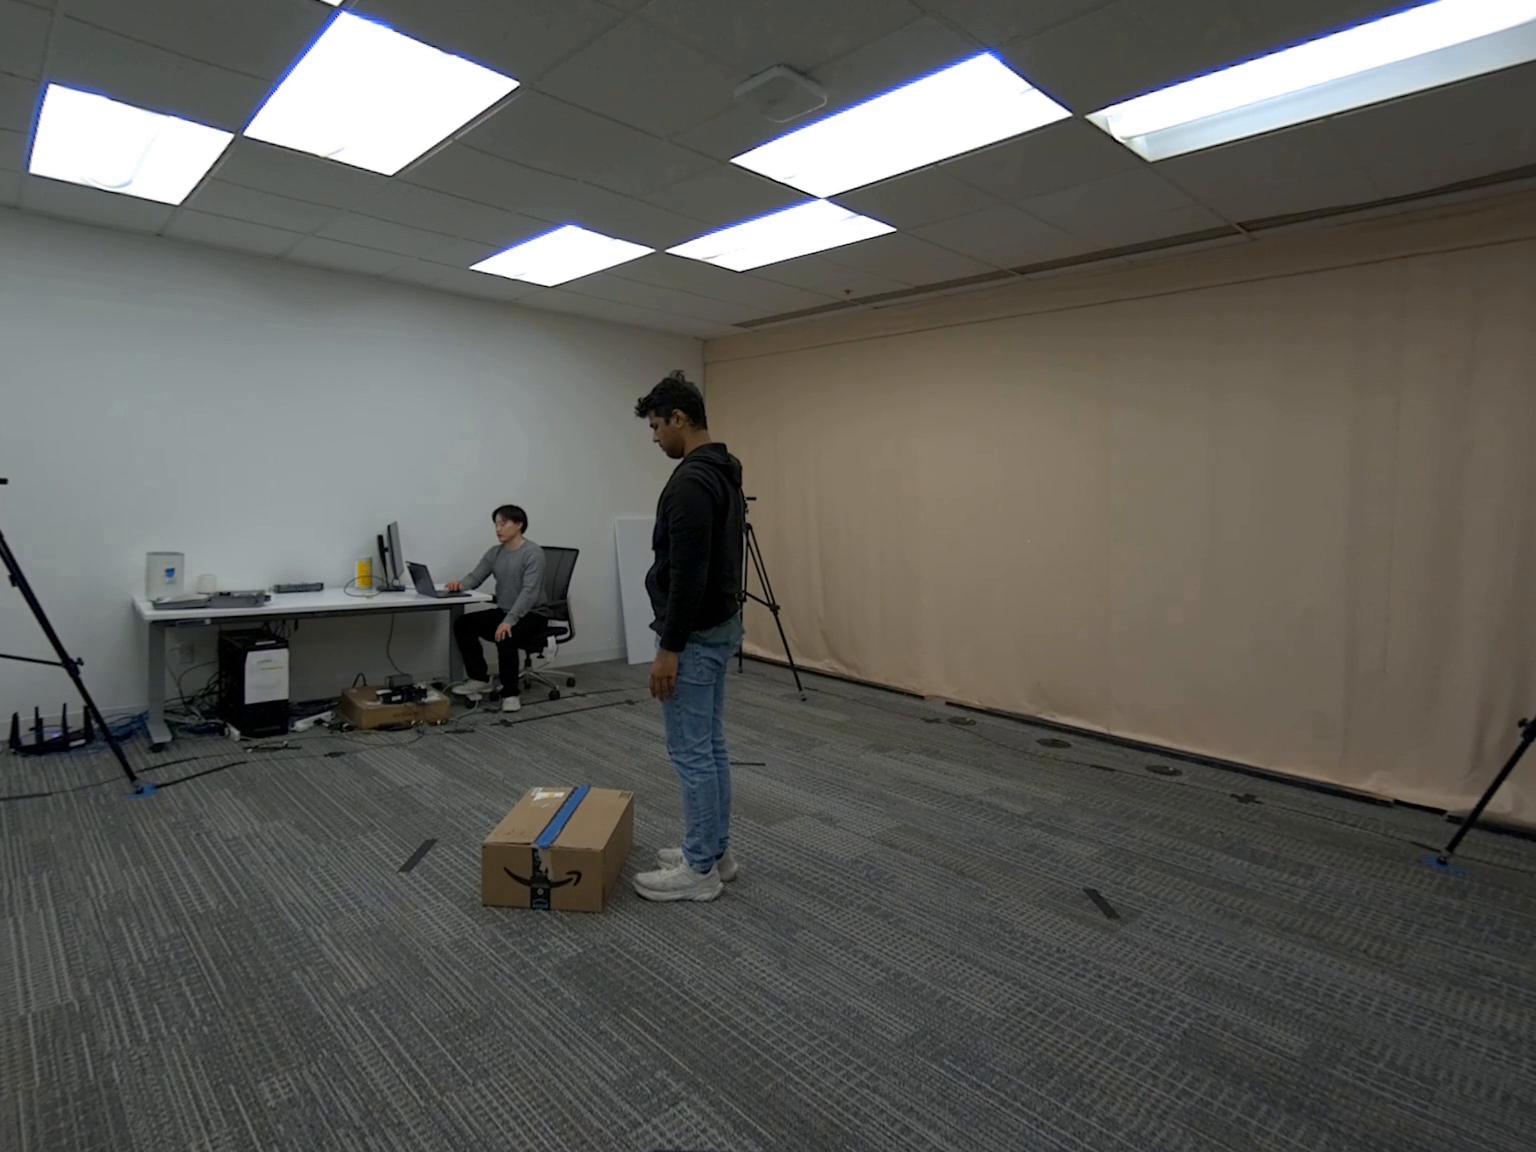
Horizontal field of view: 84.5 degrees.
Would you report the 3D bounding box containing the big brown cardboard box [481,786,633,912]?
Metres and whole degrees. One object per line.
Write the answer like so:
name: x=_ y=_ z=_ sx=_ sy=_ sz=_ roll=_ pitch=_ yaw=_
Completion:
big brown cardboard box: x=-0.755 y=0.981 z=3.094 sx=0.419 sy=0.232 sz=0.590 roll=2 pitch=6 yaw=2
